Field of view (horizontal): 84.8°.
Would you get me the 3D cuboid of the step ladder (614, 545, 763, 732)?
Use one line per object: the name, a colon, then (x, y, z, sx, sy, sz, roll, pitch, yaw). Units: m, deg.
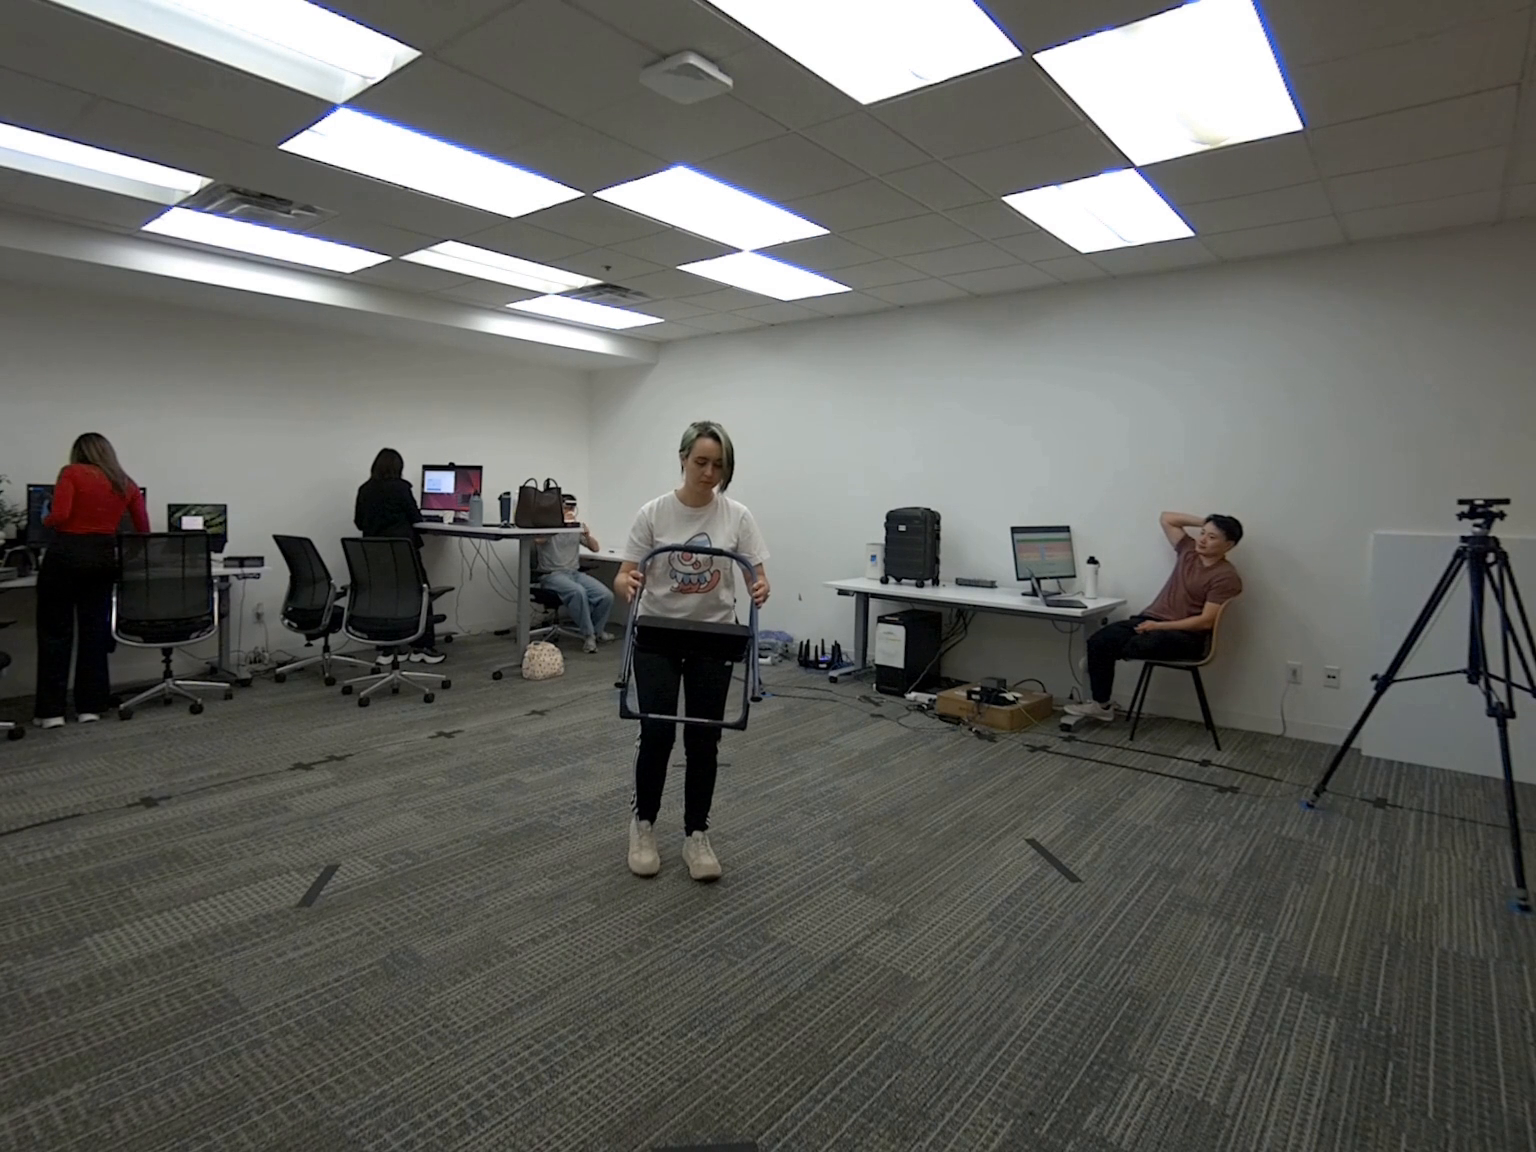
step ladder: (-0.238, 0.147, 2.735, 0.428, 0.620, 0.344, 7, -29, -6)
